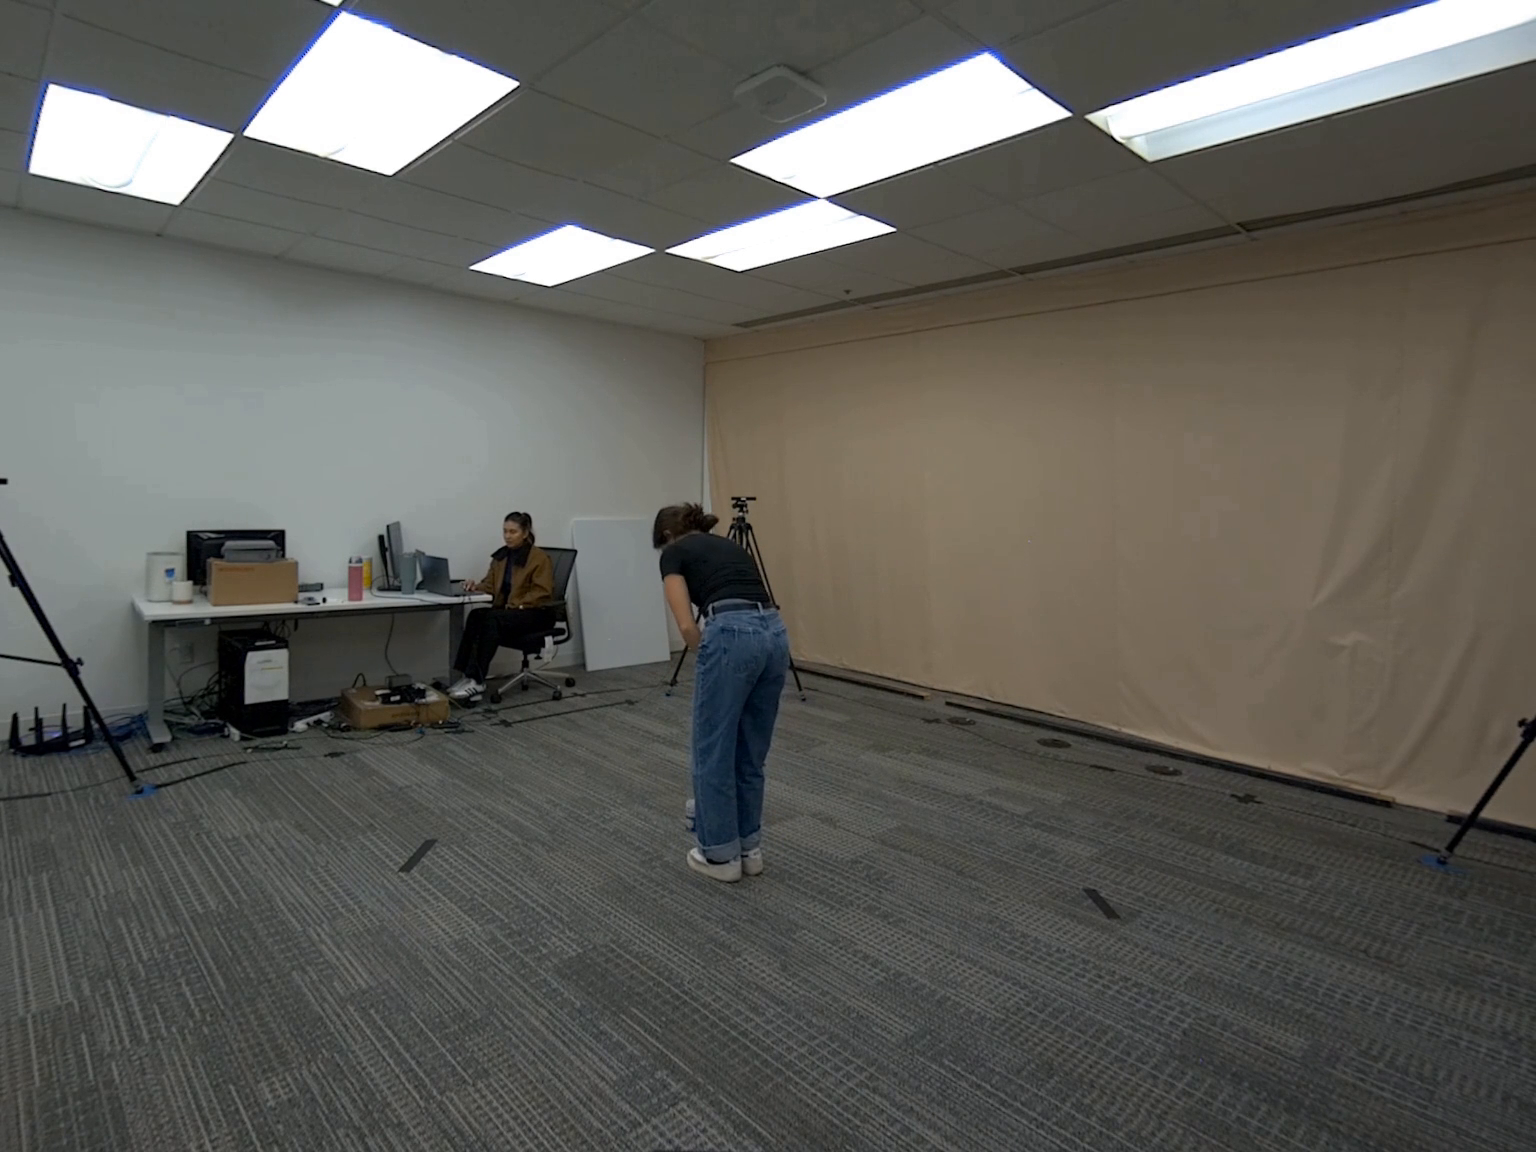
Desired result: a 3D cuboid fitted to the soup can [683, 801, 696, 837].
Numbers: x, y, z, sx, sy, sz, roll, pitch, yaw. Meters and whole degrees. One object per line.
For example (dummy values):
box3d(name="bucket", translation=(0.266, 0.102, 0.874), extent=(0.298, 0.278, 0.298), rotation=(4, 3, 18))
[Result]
box3d(name="soup can", translation=(-0.316, 1.010, 3.526), extent=(0.067, 0.121, 0.067), rotation=(3, -1, -1))
